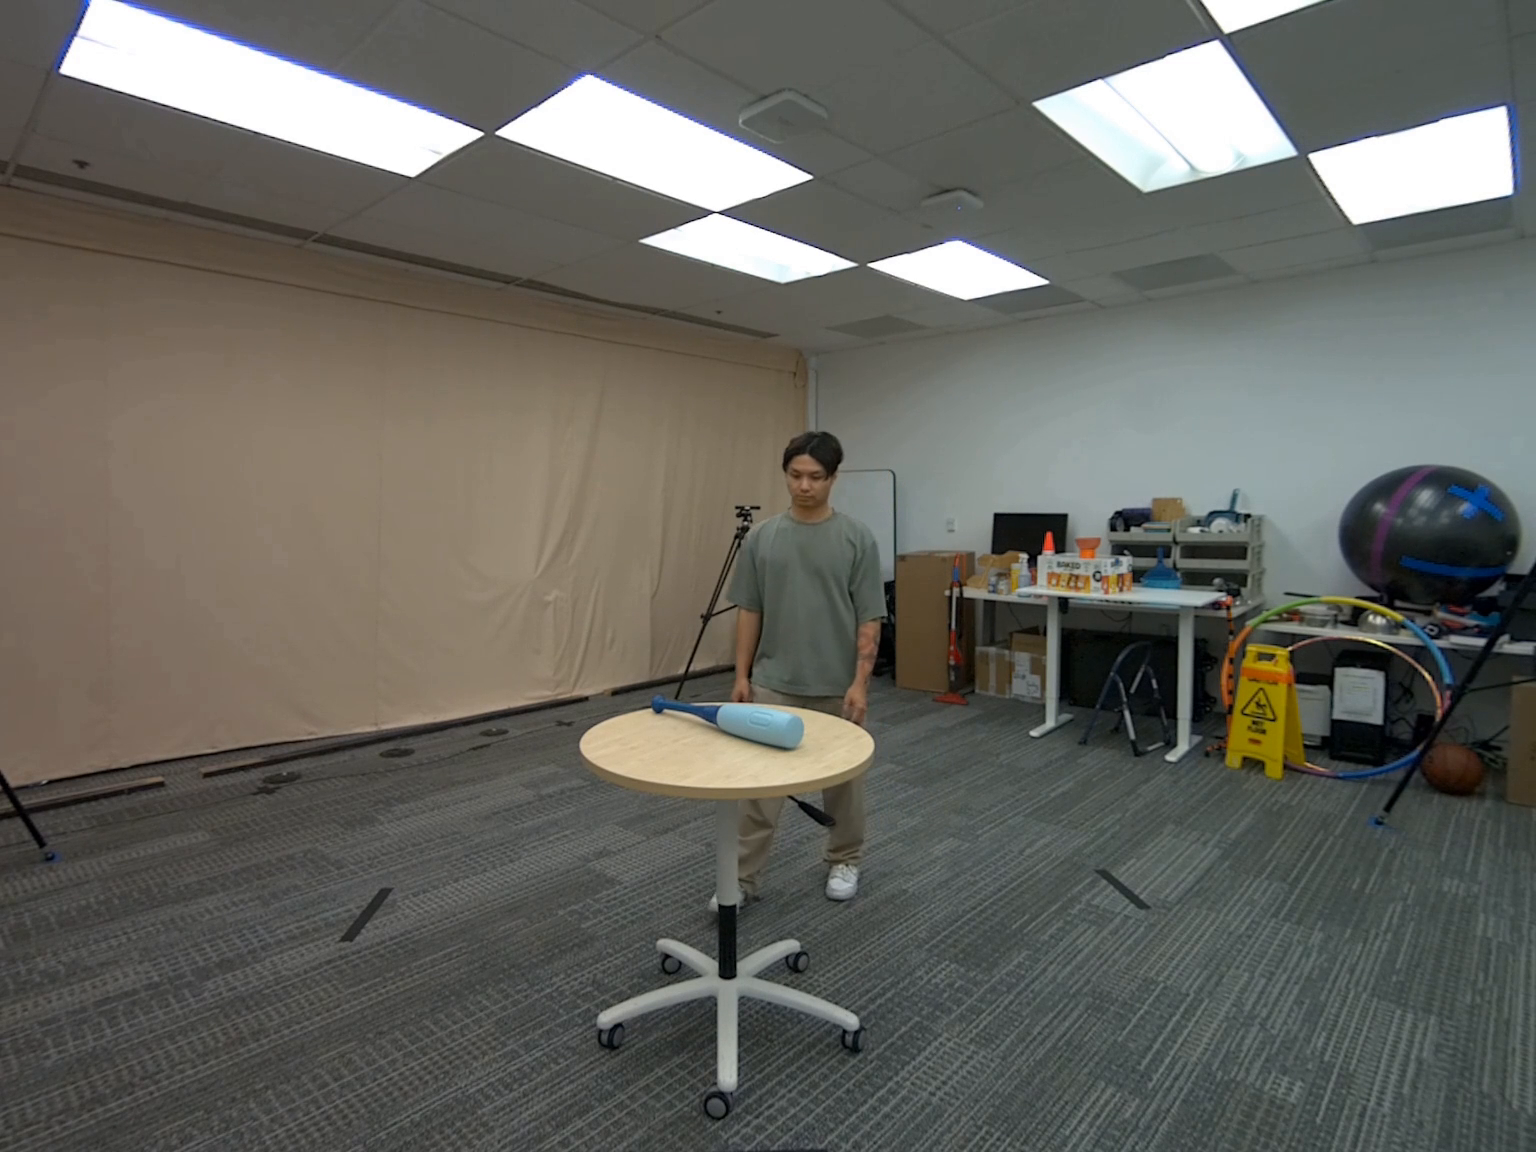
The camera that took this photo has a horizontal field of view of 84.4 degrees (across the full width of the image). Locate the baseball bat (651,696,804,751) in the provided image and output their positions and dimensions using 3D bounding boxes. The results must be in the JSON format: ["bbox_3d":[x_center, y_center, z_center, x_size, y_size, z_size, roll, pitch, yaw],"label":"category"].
[{"bbox_3d":[-0.121,0.379,2.294,0.561,0.089,0.086,2,4,43],"label":"baseball bat"}]
